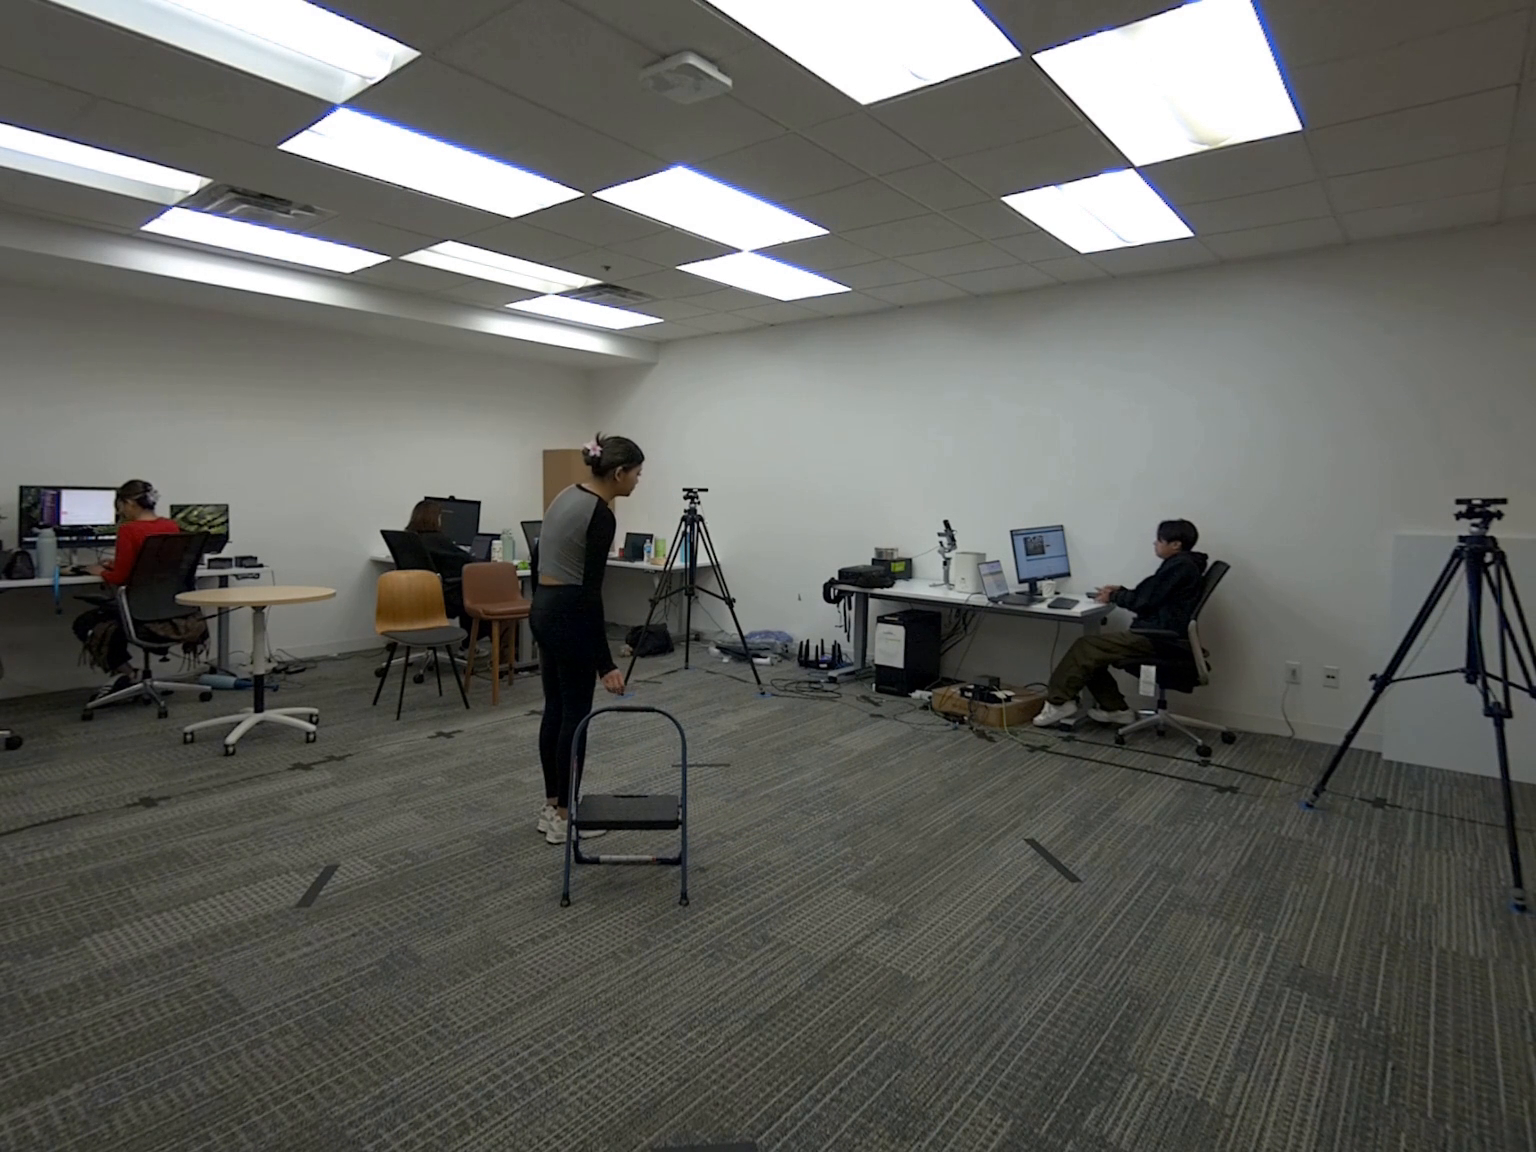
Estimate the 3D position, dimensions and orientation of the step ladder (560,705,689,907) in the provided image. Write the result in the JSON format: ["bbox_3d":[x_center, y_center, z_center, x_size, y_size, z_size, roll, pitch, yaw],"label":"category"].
[{"bbox_3d":[-0.496,0.777,2.983,0.429,0.604,0.352,1,4,-5],"label":"step ladder"}]
